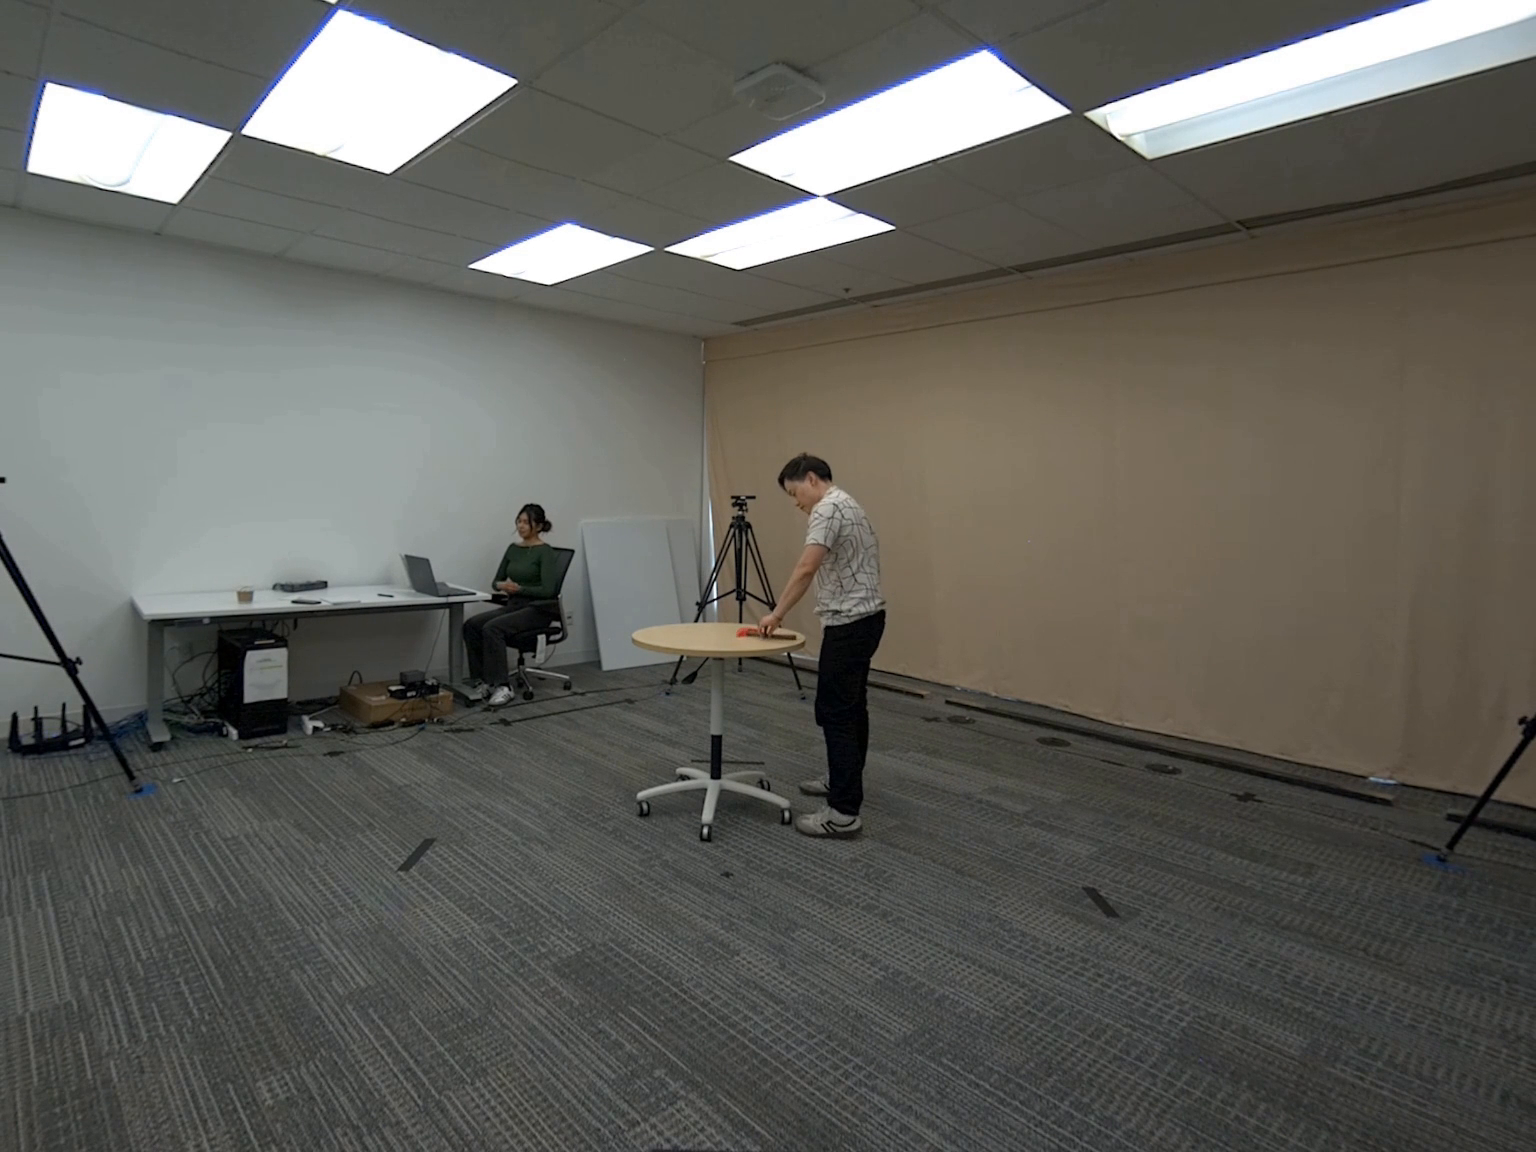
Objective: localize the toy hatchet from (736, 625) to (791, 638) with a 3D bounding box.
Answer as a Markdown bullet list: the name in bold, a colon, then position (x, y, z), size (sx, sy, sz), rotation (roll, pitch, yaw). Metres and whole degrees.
- **toy hatchet**: position (-0.007, 0.251, 3.714), size (0.272, 0.029, 0.131), rotation (3, 11, 10)
